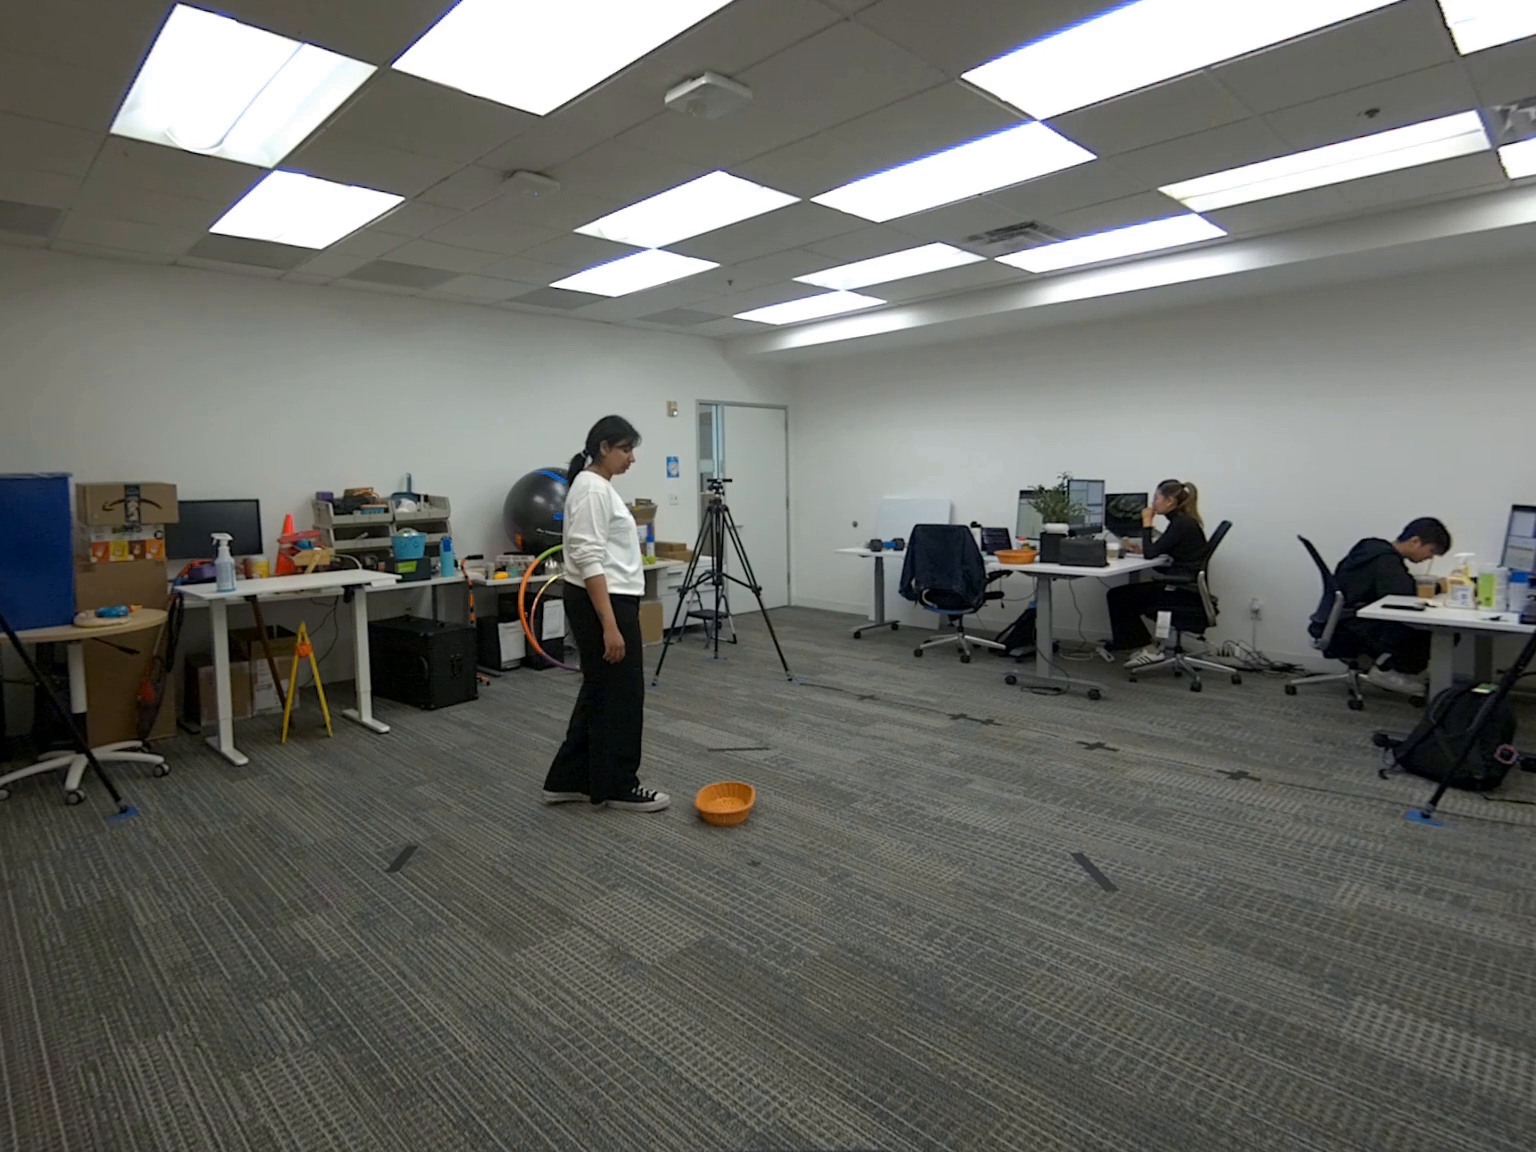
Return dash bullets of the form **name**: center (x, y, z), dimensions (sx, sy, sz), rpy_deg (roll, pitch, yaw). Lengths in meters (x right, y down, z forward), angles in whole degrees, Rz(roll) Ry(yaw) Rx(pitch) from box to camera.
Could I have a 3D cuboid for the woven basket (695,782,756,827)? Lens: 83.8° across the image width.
- **woven basket**: center (-0.184, 0.954, 3.584), dimensions (0.254, 0.073, 0.350), rpy_deg (-2, 7, 5)
